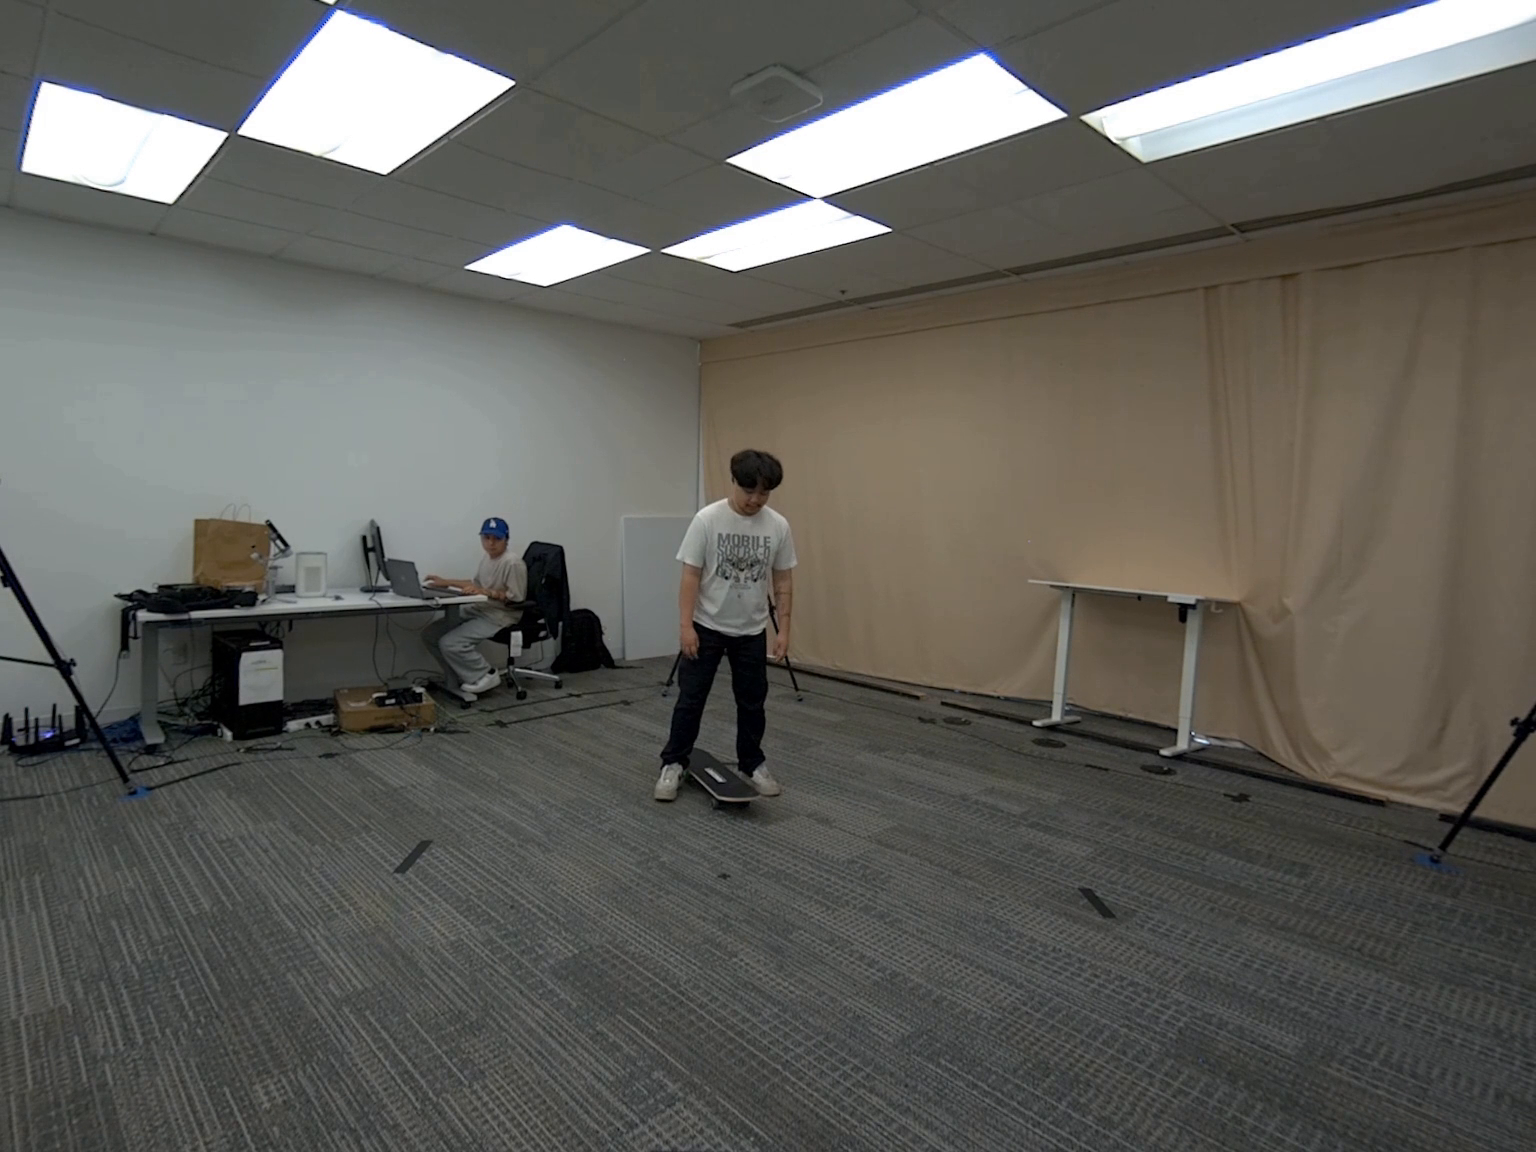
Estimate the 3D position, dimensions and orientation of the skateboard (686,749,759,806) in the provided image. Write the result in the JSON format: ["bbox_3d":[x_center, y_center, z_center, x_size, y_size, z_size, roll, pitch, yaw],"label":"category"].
[{"bbox_3d":[-0.266,0.975,3.992,0.190,0.110,0.801,-1,6,-24],"label":"skateboard"}]
